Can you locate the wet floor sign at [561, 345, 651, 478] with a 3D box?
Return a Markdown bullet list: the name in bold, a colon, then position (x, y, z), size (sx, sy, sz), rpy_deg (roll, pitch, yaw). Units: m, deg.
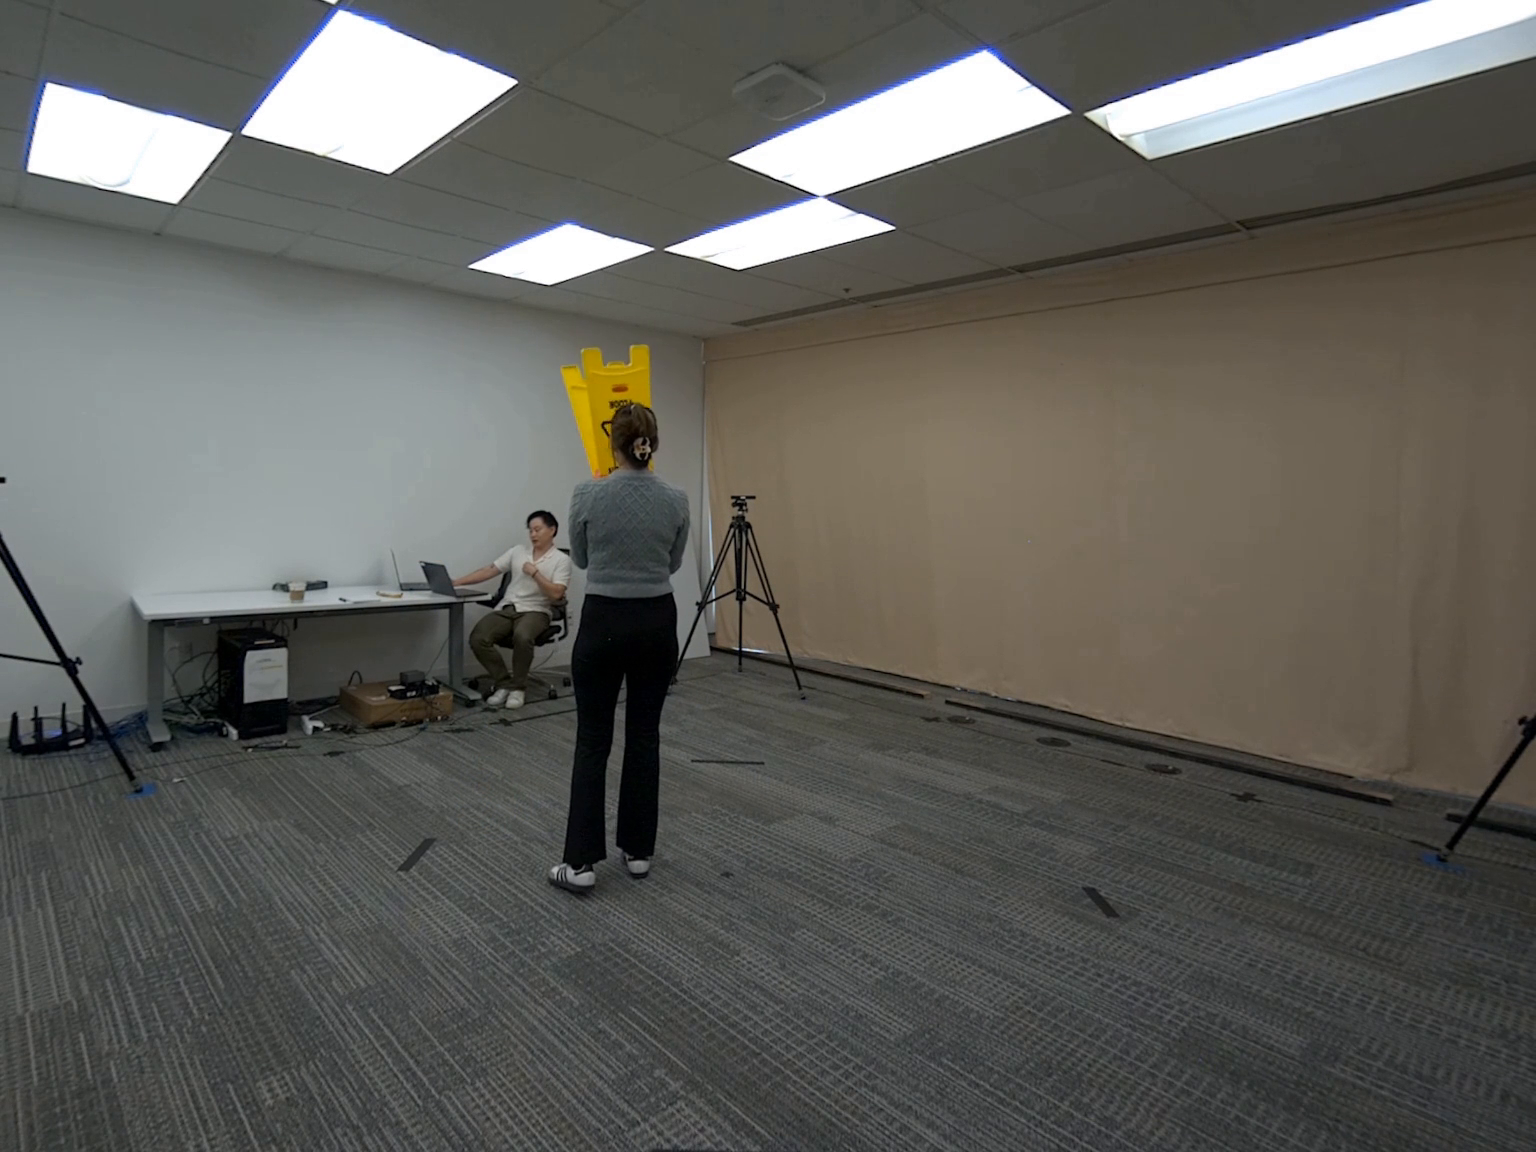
- **wet floor sign**: position (-0.619, -0.570, 3.430), size (0.278, 0.645, 0.295), rpy_deg (-10, 3, -28)
